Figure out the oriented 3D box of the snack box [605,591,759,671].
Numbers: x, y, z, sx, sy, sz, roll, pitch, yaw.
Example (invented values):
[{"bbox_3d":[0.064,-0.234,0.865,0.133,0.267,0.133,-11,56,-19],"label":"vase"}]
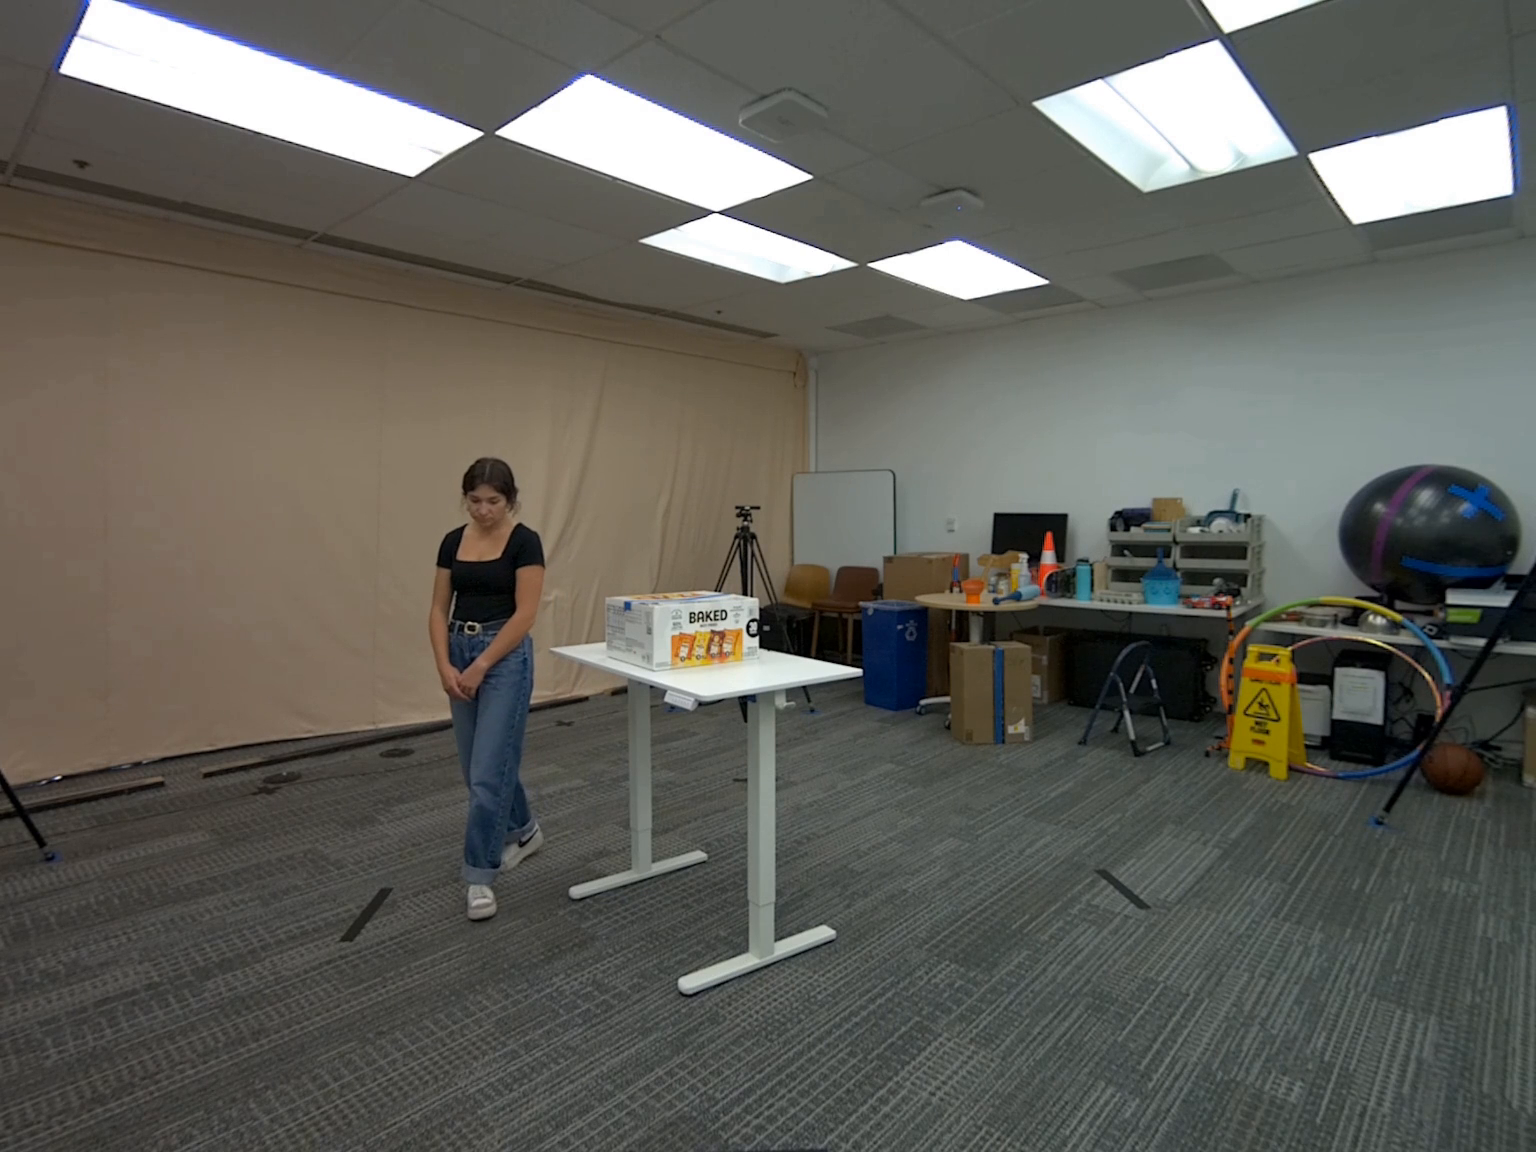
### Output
[{"bbox_3d":[-0.286,0.175,2.831,0.393,0.205,0.351,-3,4,-35],"label":"snack box"}]
